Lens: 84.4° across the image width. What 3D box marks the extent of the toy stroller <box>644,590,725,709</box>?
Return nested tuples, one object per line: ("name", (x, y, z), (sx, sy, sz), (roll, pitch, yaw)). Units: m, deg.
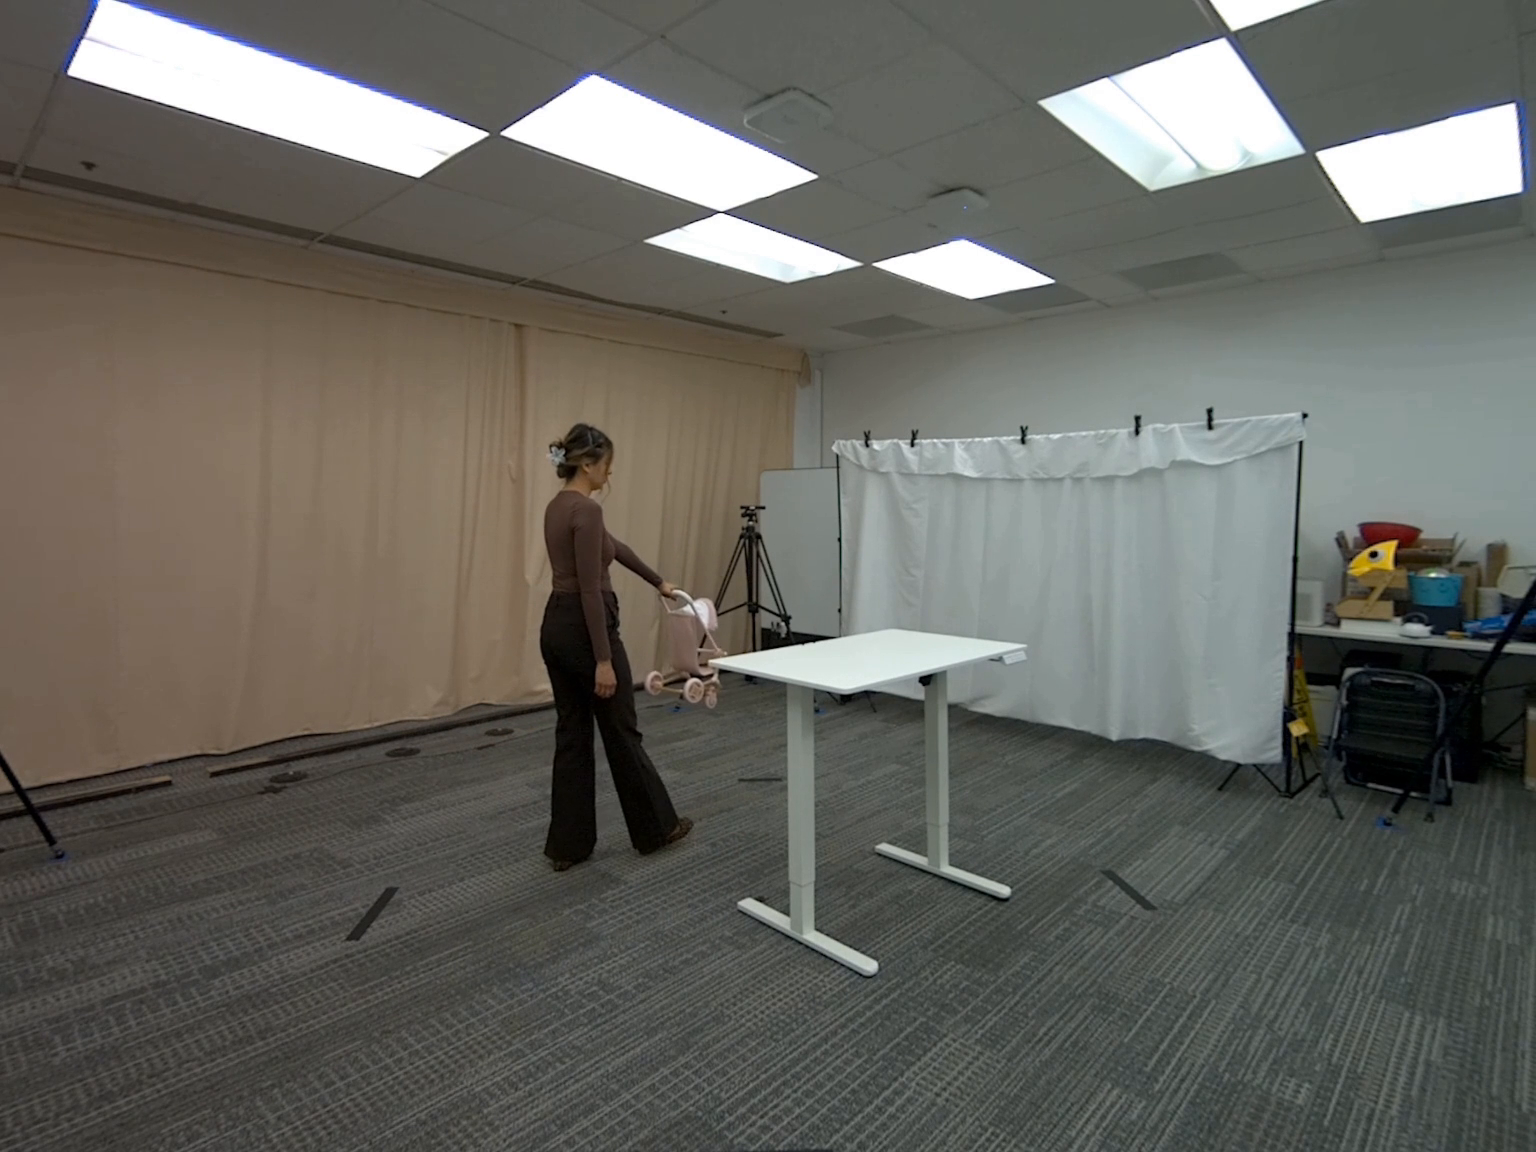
("toy stroller", (-0.334, 0.338, 3.777), (0.330, 0.535, 0.290), (4, -3, -45))
